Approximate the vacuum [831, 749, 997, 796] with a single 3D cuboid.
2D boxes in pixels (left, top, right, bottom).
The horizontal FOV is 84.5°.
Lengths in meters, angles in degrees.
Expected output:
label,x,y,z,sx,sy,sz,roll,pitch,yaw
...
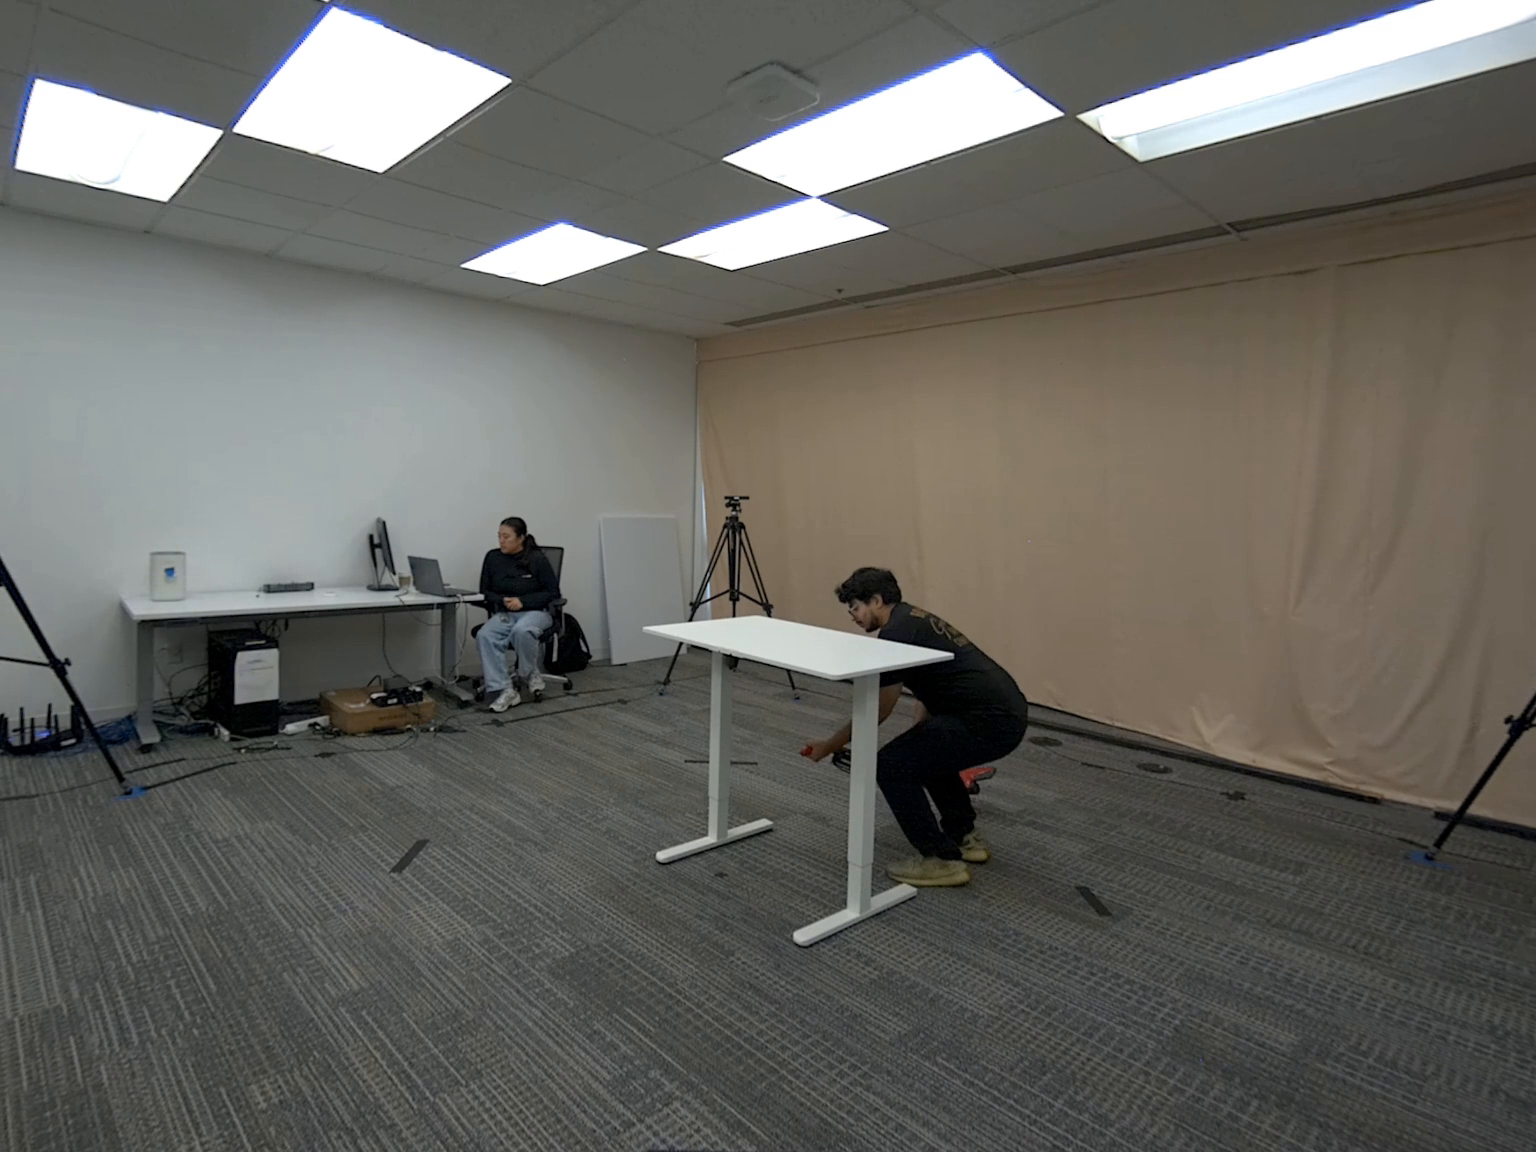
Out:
label,x,y,z,sx,sy,sz,roll,pitch,yaw
vacuum,0.516,0.817,3.535,1.021,0.146,0.256,16,-23,-35
